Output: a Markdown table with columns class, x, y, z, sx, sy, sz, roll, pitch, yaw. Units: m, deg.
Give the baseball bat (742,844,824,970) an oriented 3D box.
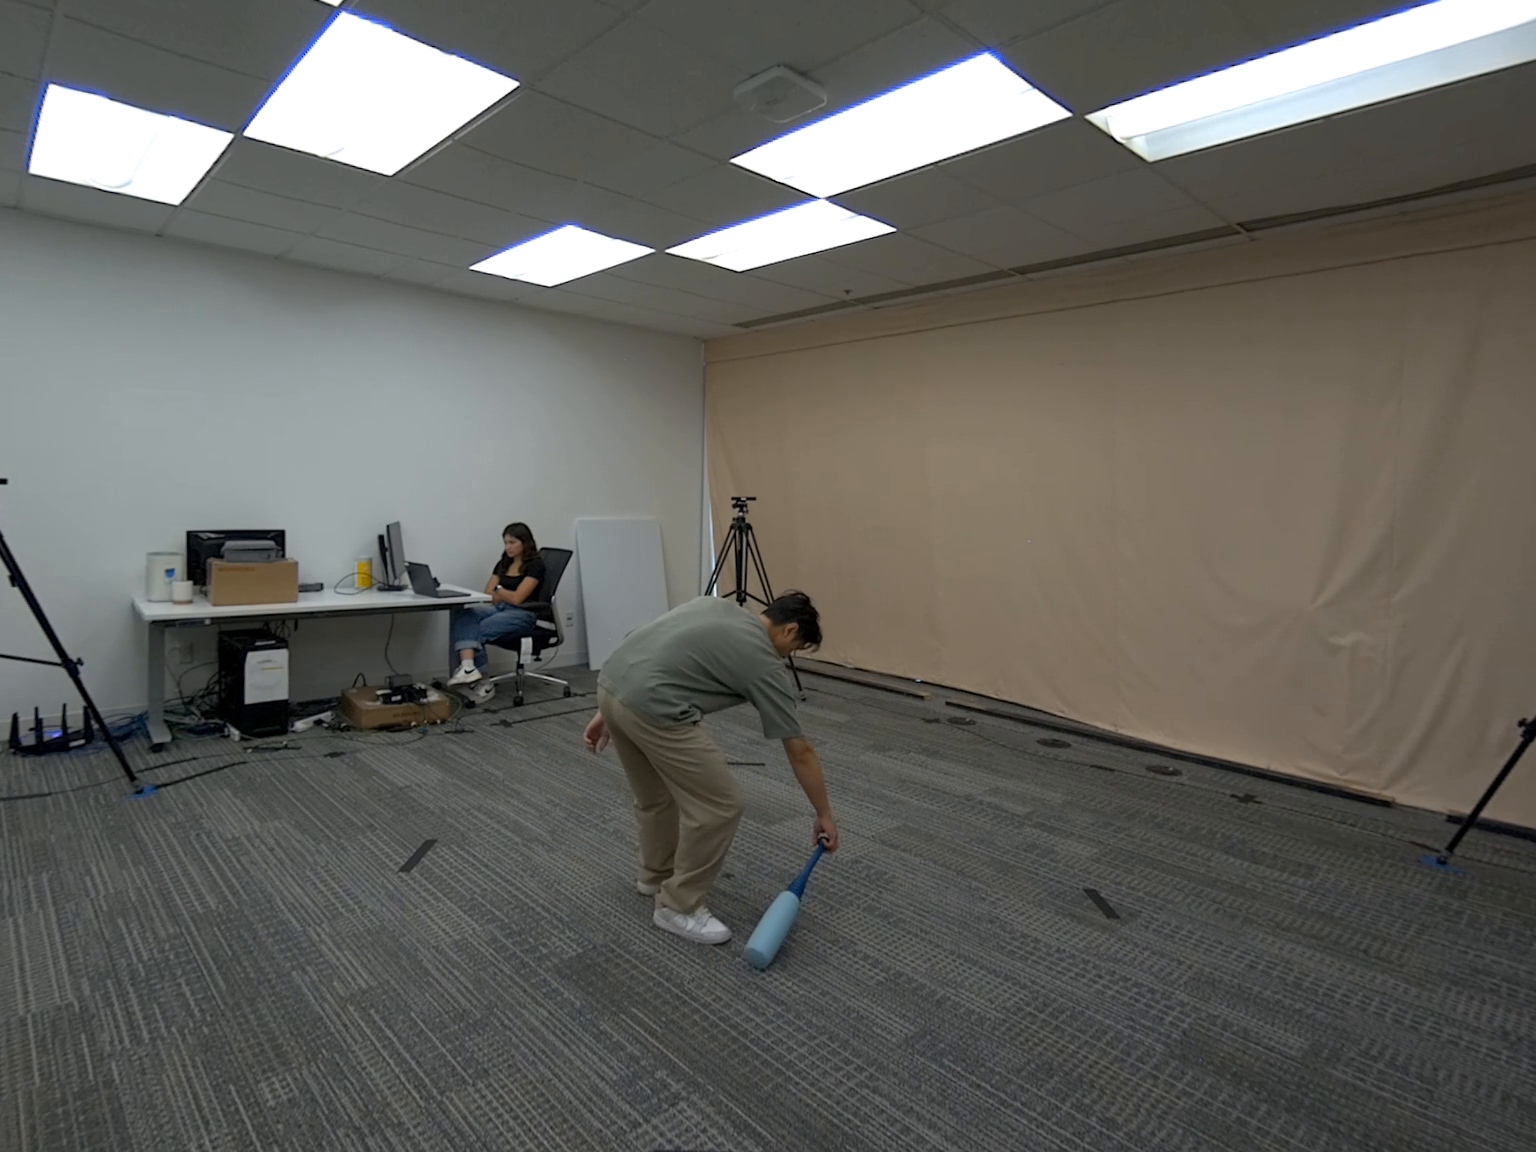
| class | x | y | z | sx | sy | sz | roll | pitch | yaw |
| --- | --- | --- | --- | --- | --- | --- | --- | --- | --- |
| baseball bat | 0.069 | 1.030 | 2.682 | 0.091 | 0.087 | 0.540 | 3 | 25 | 28 |
